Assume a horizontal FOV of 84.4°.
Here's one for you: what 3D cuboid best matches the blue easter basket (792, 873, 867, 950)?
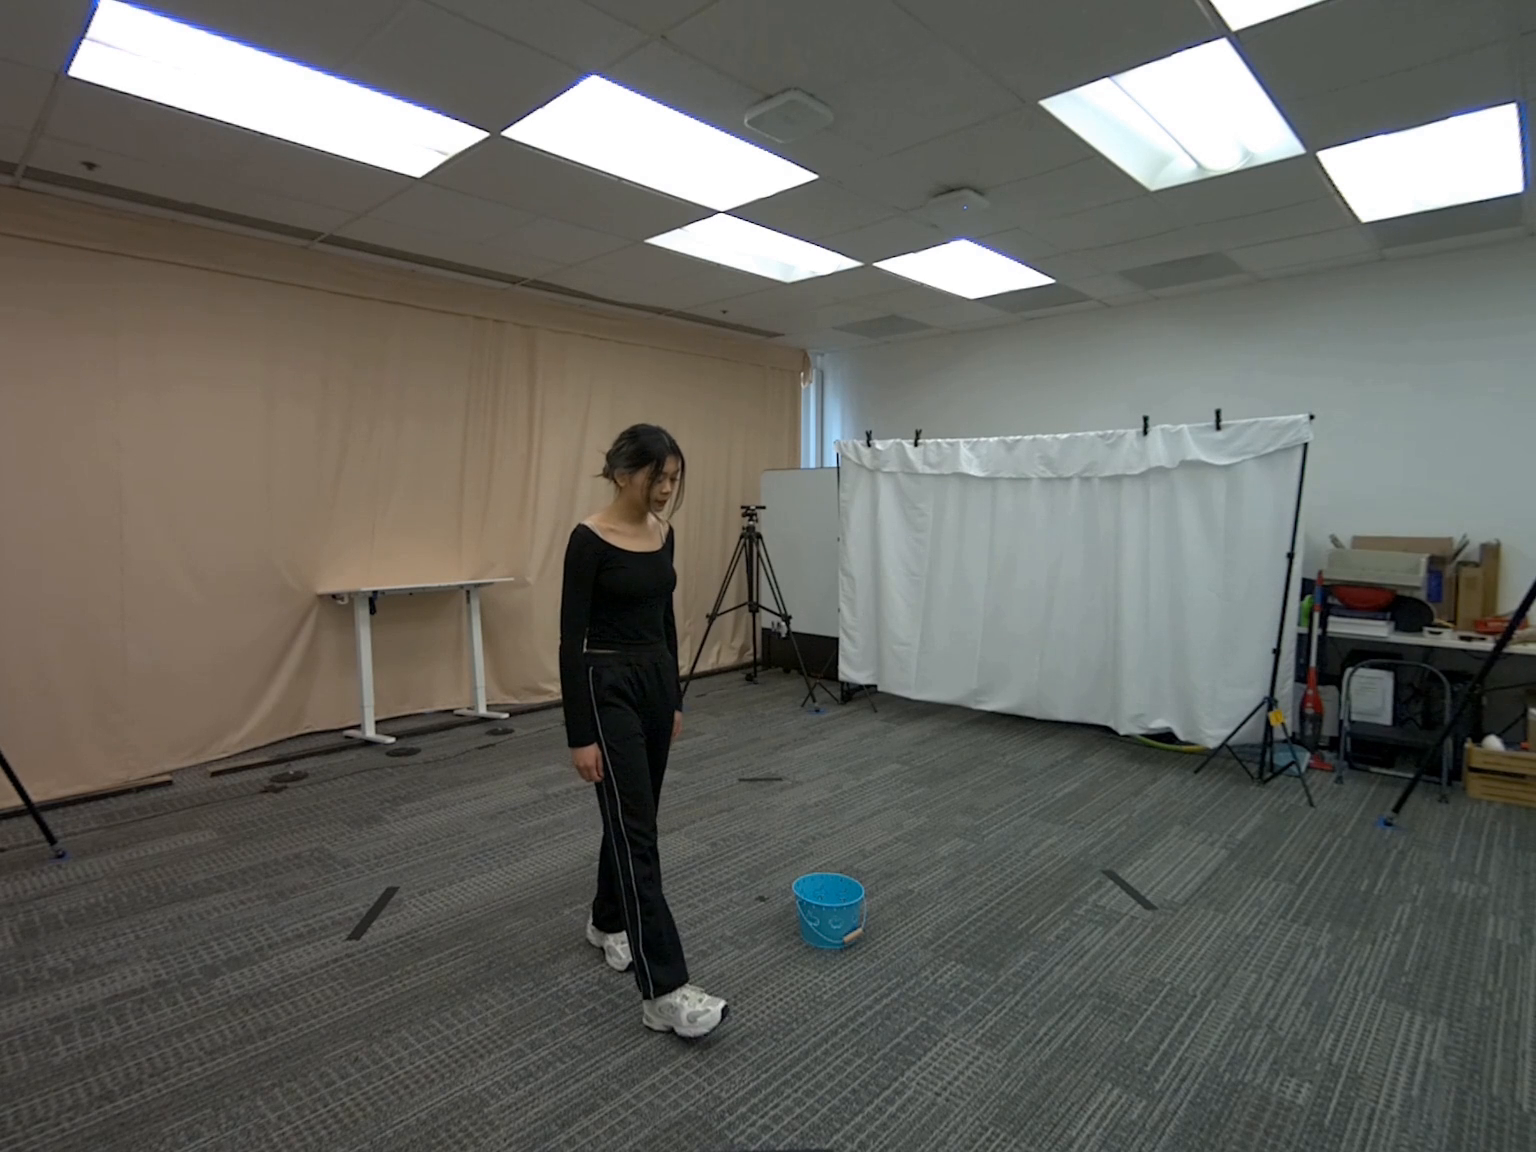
[{"bbox_3d":[0.199,1.087,2.724,0.243,0.155,0.244,0,4,-2],"label":"blue easter basket"}]
